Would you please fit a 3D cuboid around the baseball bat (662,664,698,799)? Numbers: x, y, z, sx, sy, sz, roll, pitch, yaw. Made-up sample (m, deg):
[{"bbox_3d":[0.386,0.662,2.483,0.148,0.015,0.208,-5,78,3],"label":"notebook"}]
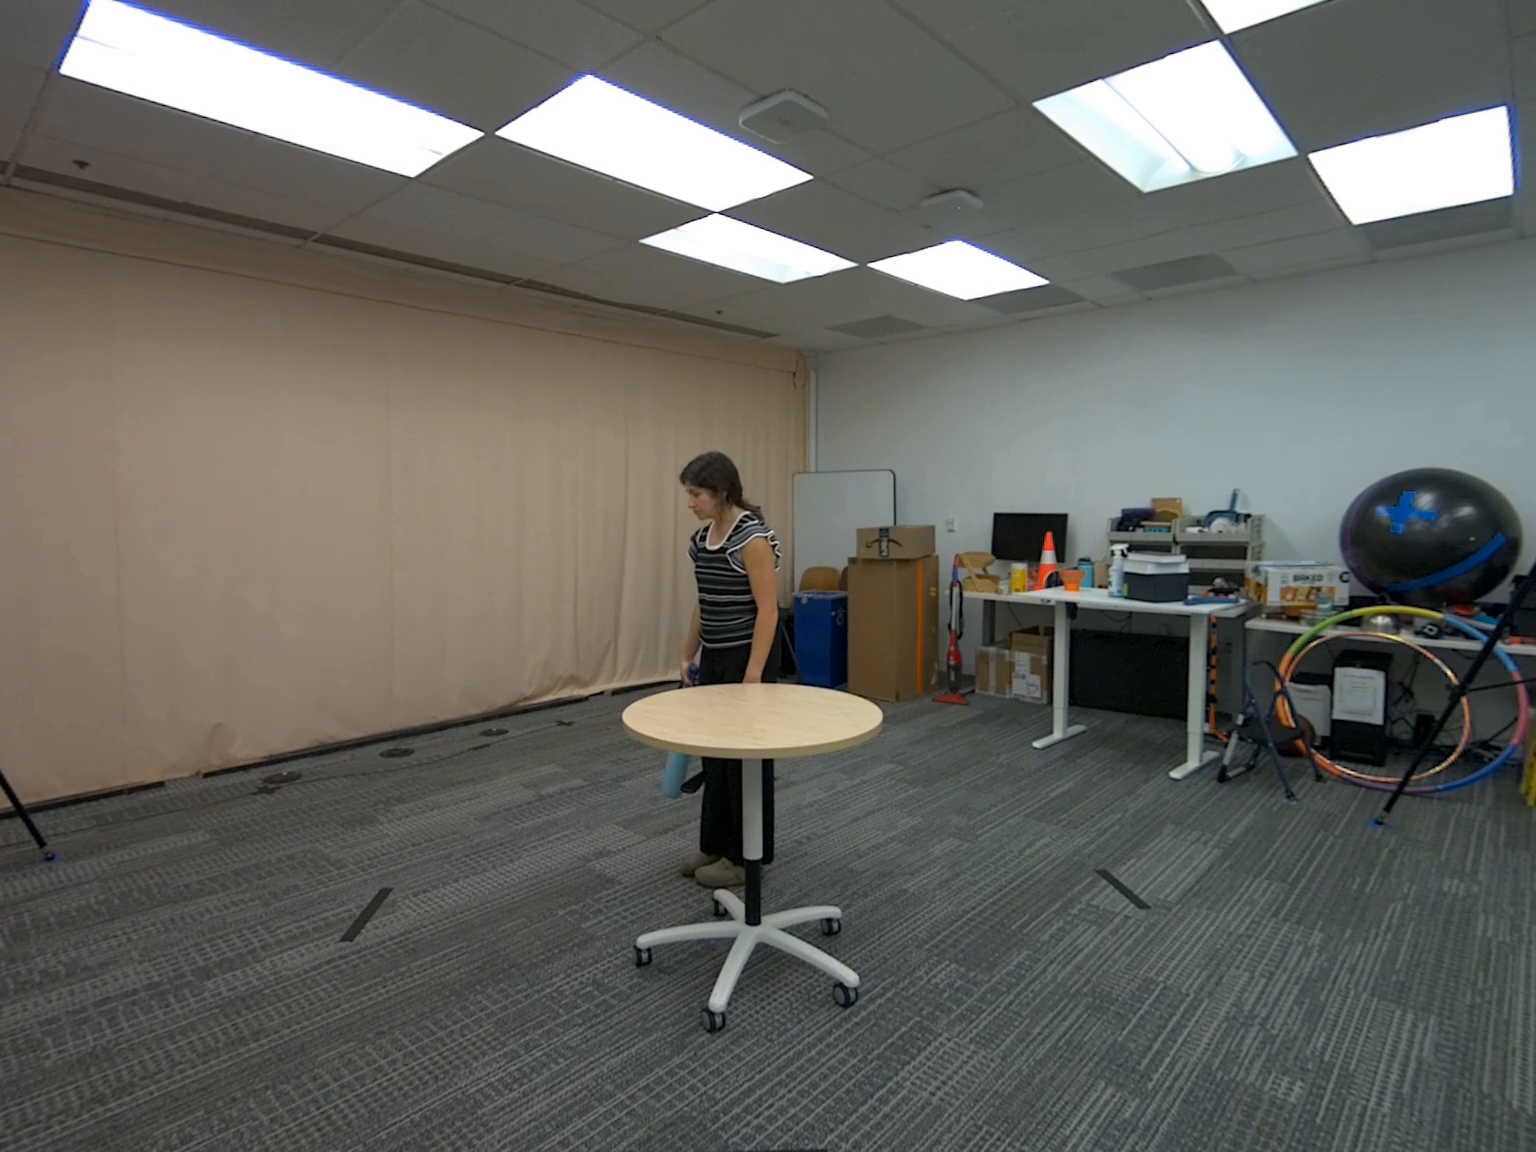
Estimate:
[{"bbox_3d":[-0.346,0.618,3.336,0.089,0.541,0.089,10,7,-3],"label":"baseball bat"}]
